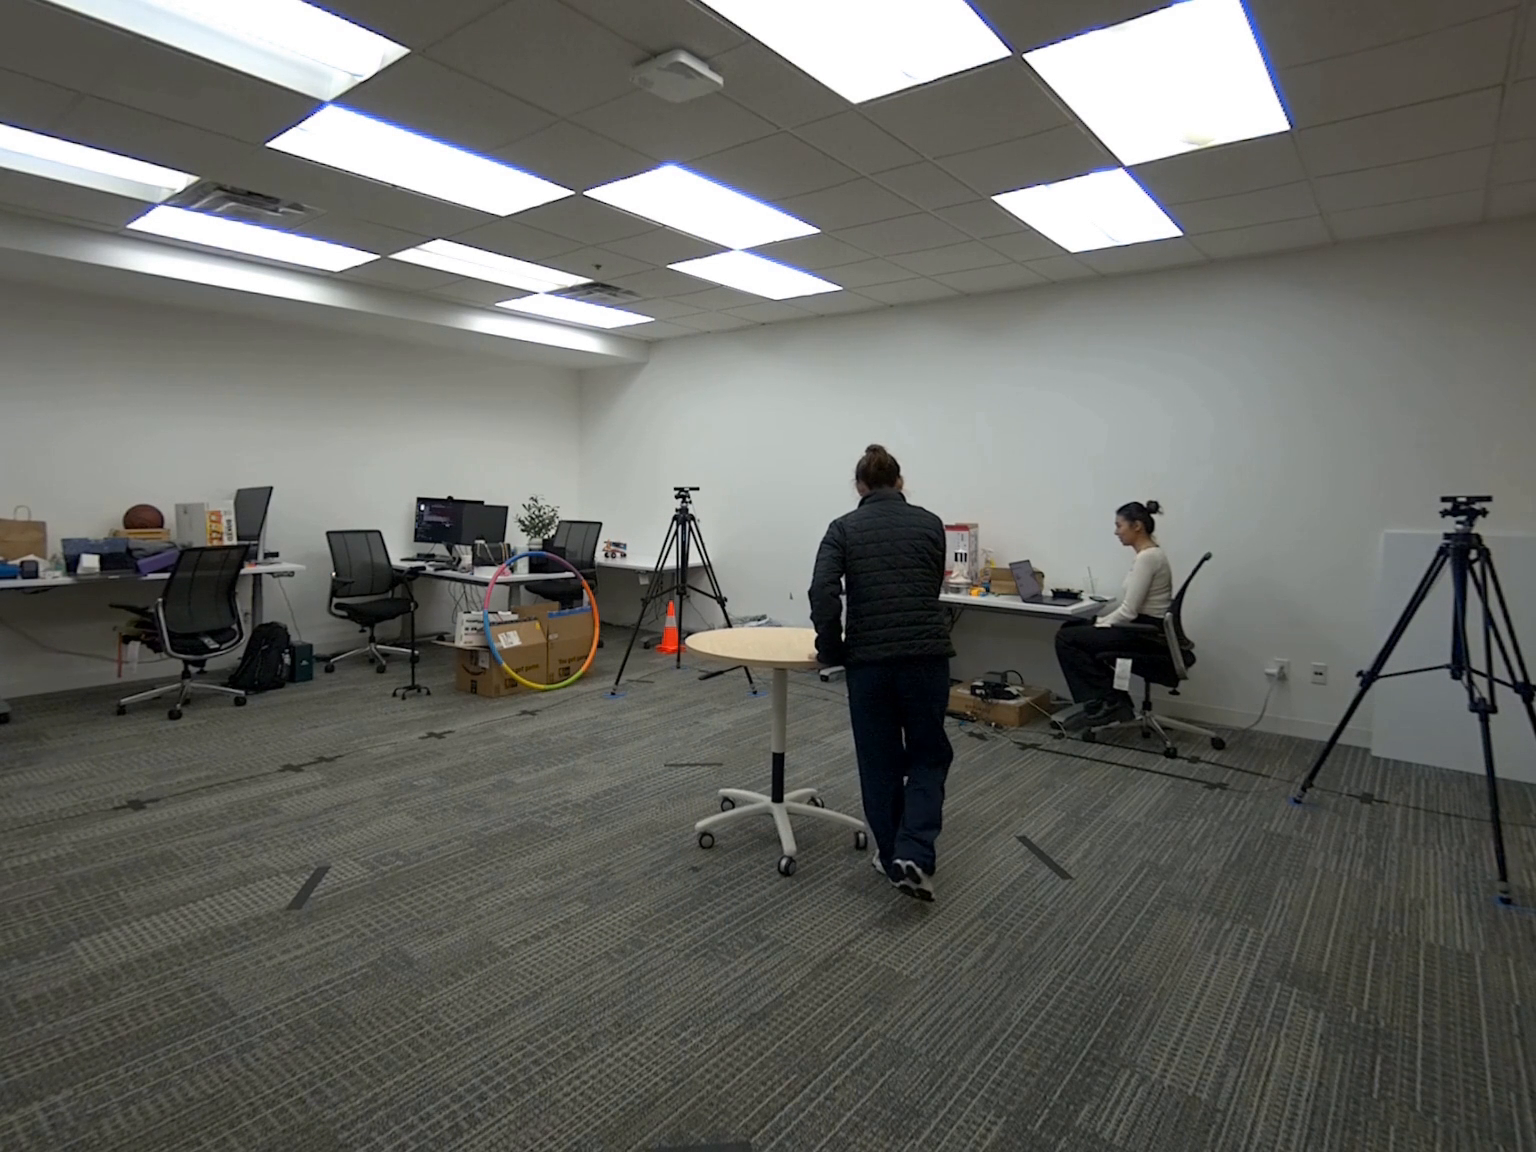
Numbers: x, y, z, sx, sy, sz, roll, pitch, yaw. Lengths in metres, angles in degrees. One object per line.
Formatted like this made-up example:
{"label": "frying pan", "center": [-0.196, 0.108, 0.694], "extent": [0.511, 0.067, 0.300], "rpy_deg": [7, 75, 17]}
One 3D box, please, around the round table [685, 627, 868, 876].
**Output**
{"label": "round table", "center": [0.071, 0.648, 3.402], "extent": [0.784, 0.784, 0.789], "rpy_deg": [1, 4, -2]}
